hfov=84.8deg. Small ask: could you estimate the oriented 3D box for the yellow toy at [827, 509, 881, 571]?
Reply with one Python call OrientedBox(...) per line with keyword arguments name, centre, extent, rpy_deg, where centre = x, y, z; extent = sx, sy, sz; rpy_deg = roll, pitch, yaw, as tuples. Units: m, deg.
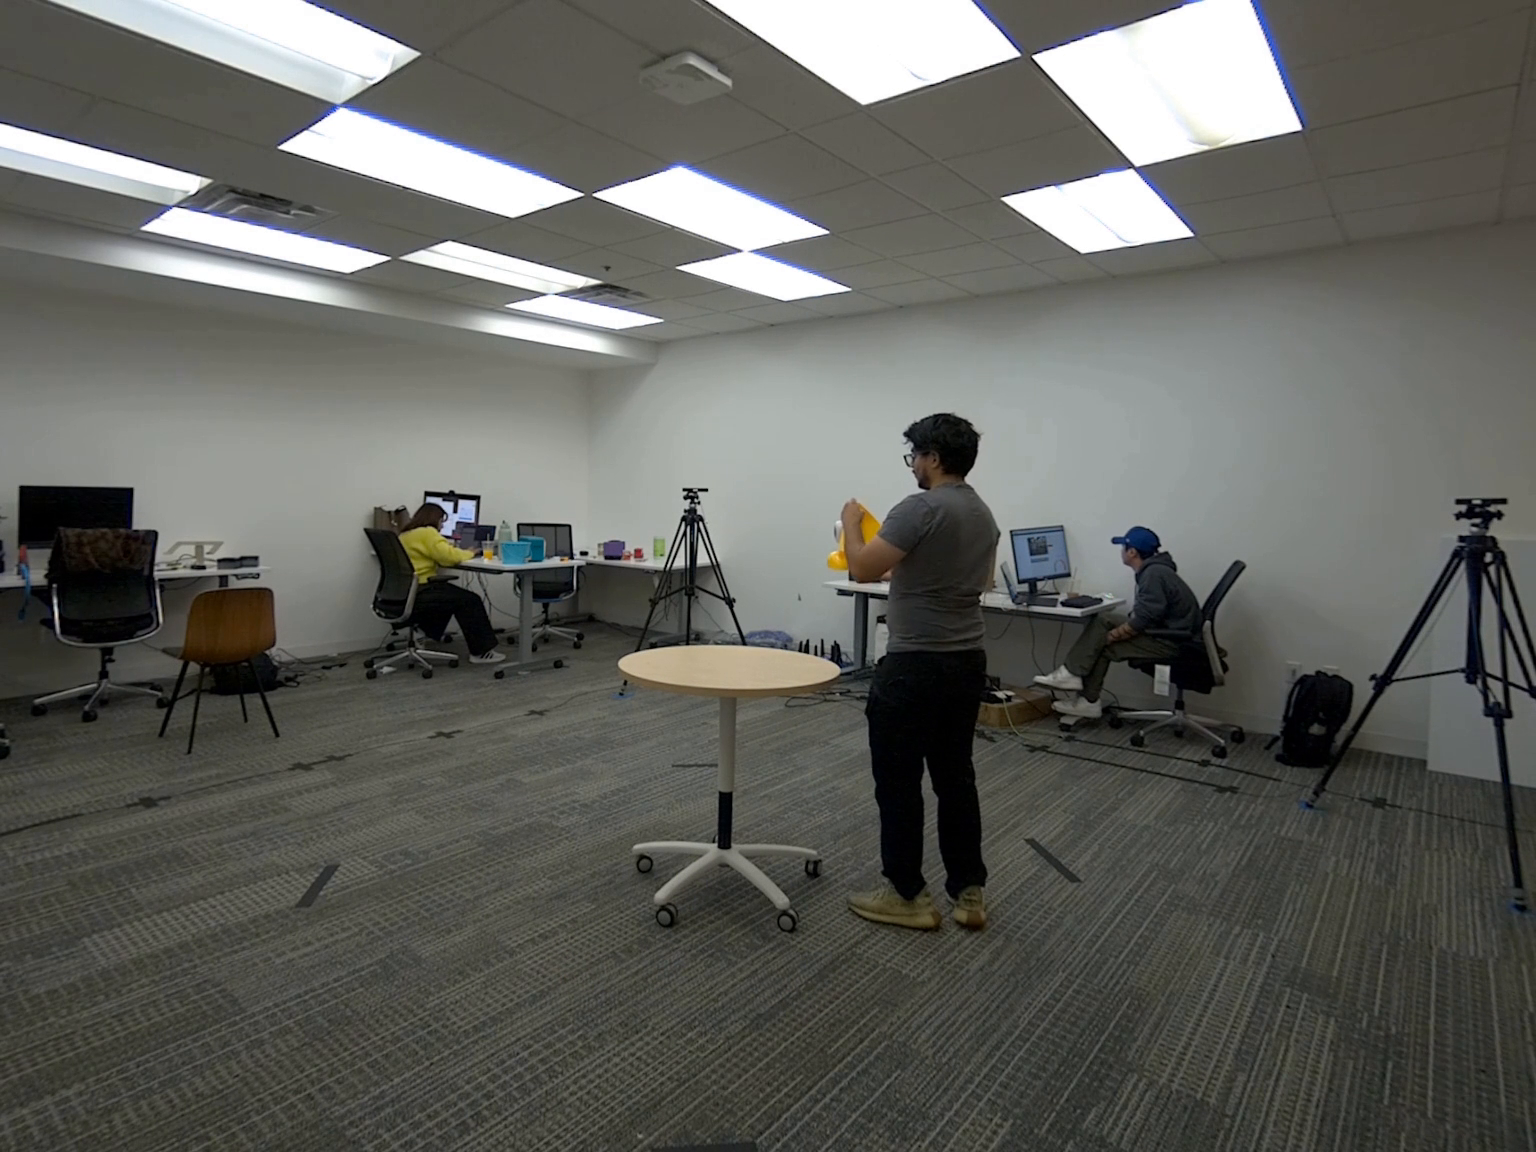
OrientedBox(name="yellow toy", centre=(0.294, -0.157, 3.081), extent=(0.200, 0.228, 0.200), rpy_deg=(-12, 15, -28))
